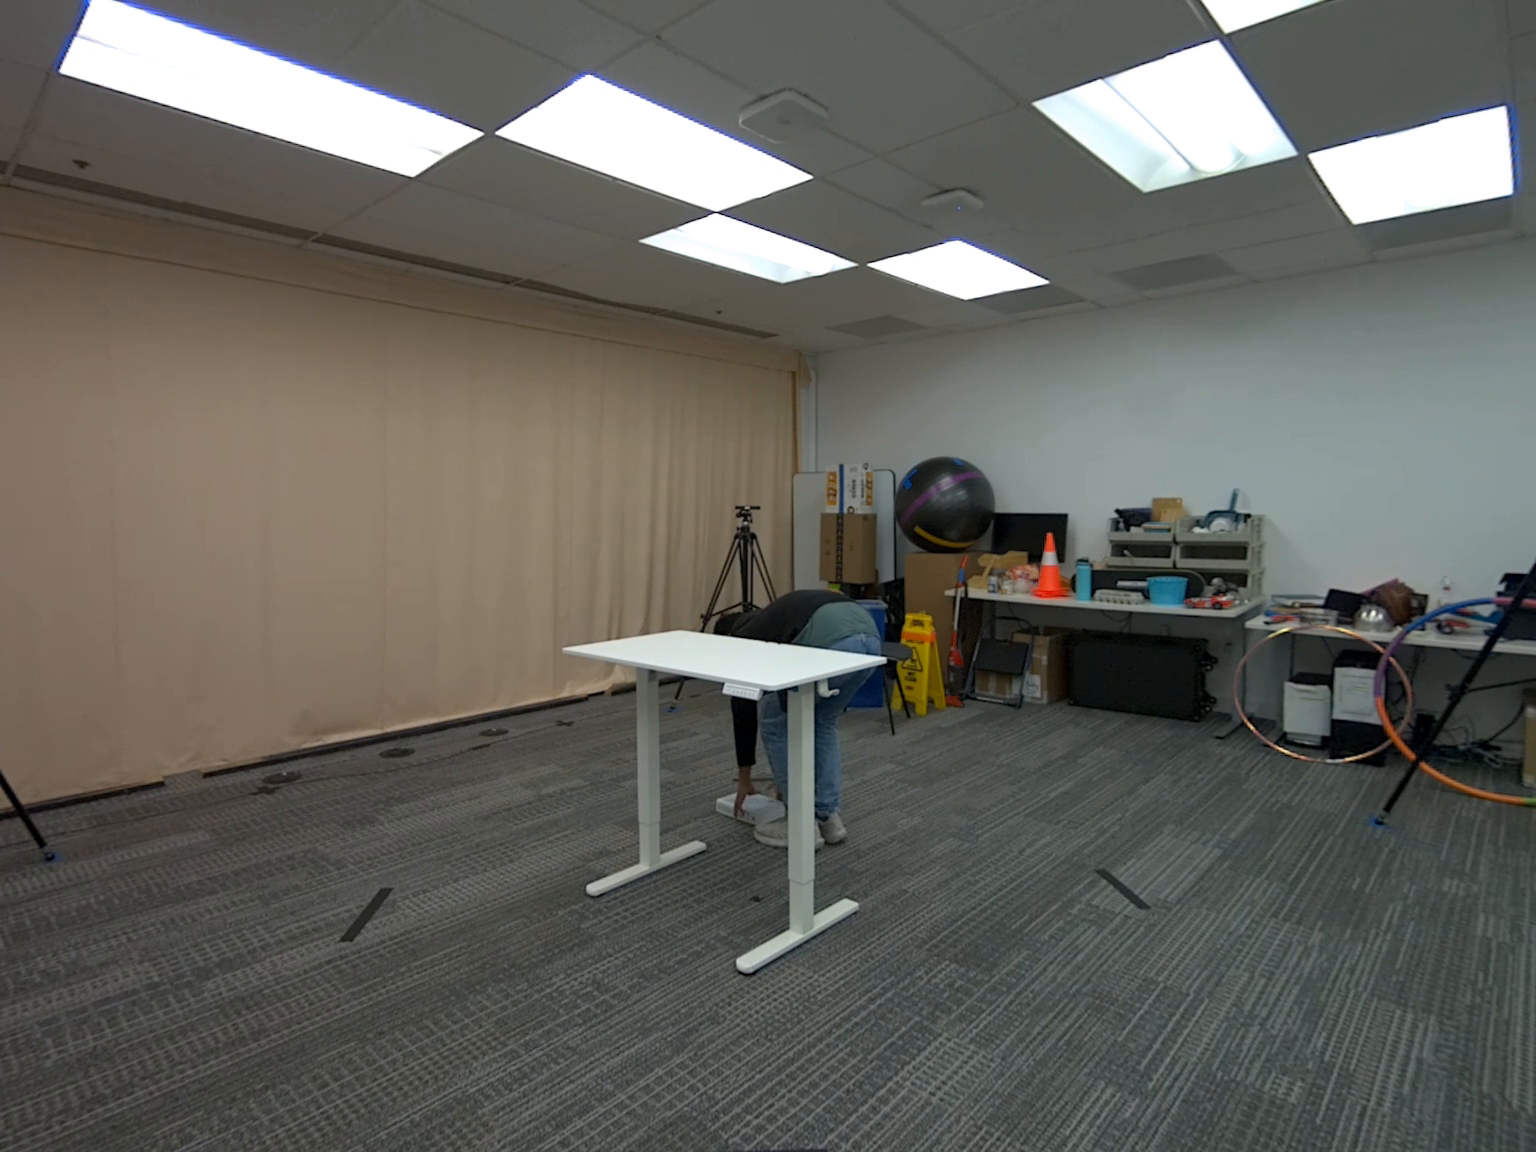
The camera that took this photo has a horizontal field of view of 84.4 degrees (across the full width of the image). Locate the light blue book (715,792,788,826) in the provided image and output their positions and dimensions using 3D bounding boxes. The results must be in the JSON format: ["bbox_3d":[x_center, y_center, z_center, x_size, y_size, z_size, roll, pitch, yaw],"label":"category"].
[{"bbox_3d":[-0.078,1.038,3.806,0.185,0.059,0.270,-5,5,-45],"label":"light blue book"}]
